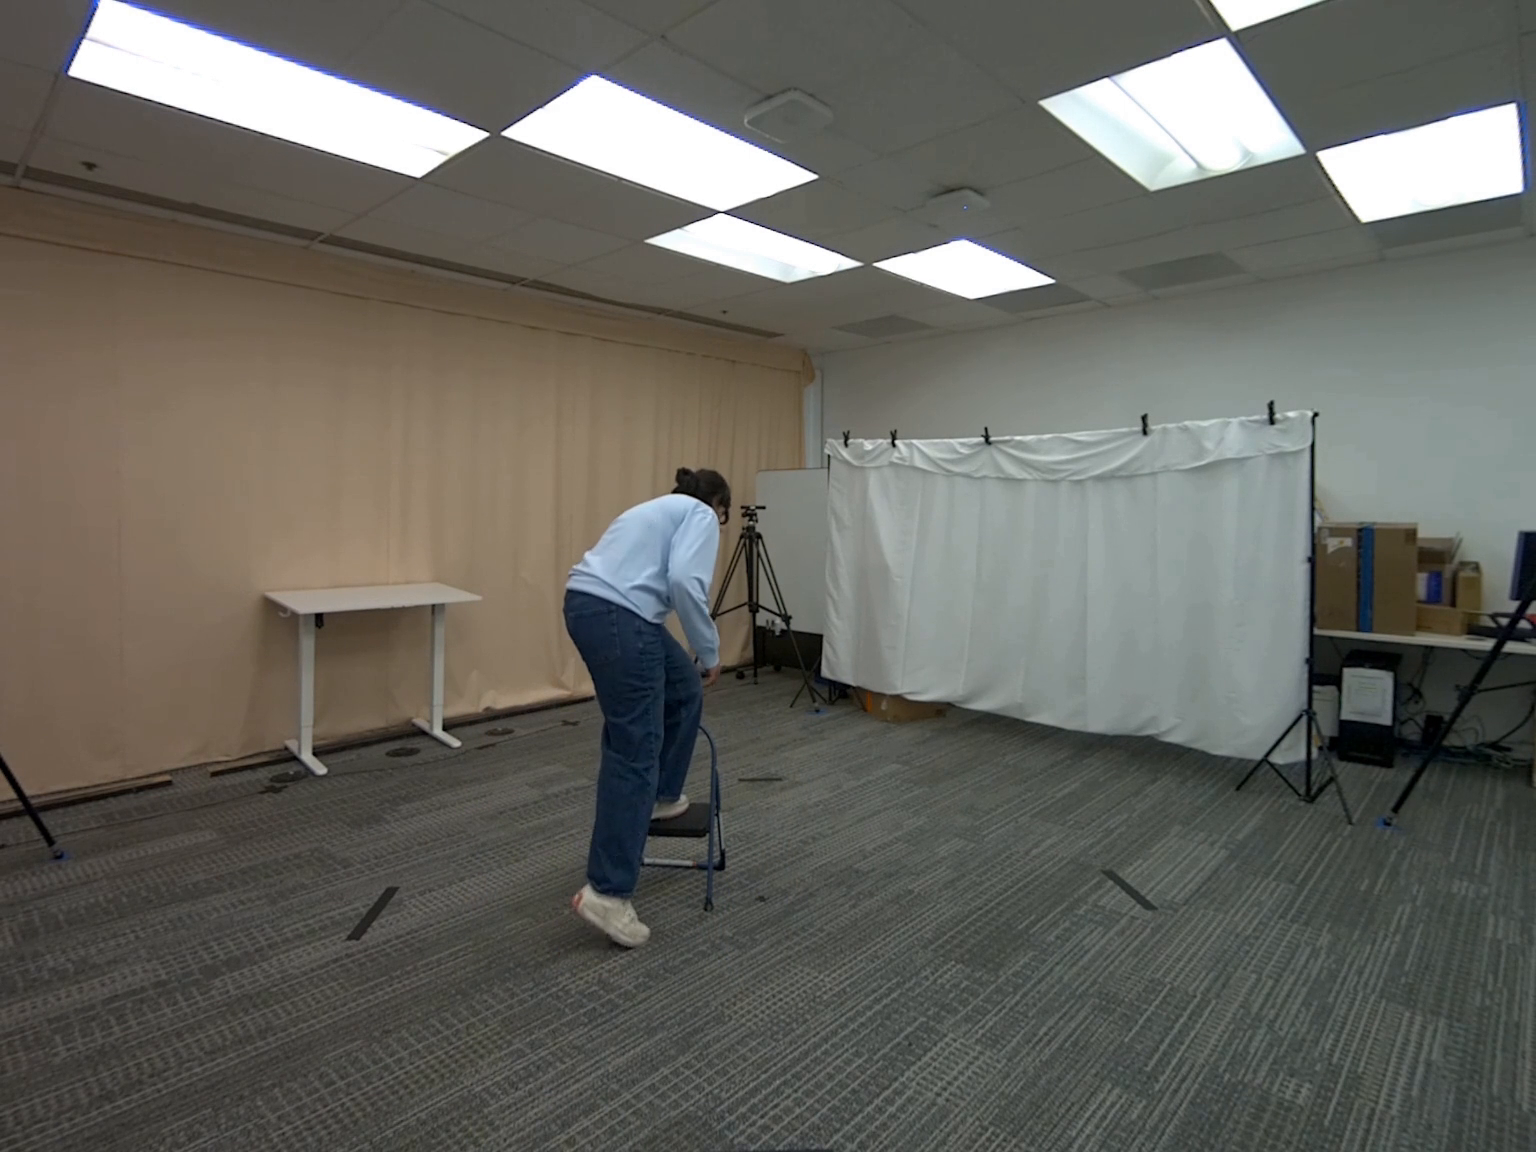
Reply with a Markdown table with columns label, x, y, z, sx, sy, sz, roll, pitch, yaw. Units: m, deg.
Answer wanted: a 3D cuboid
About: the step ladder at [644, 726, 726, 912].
| label | x | y | z | sx | sy | sz | roll | pitch | yaw |
| --- | --- | --- | --- | --- | --- | --- | --- | --- | --- |
| step ladder | -0.383 | 0.838 | 3.090 | 0.435 | 0.605 | 0.347 | 0 | 4 | 8 |
